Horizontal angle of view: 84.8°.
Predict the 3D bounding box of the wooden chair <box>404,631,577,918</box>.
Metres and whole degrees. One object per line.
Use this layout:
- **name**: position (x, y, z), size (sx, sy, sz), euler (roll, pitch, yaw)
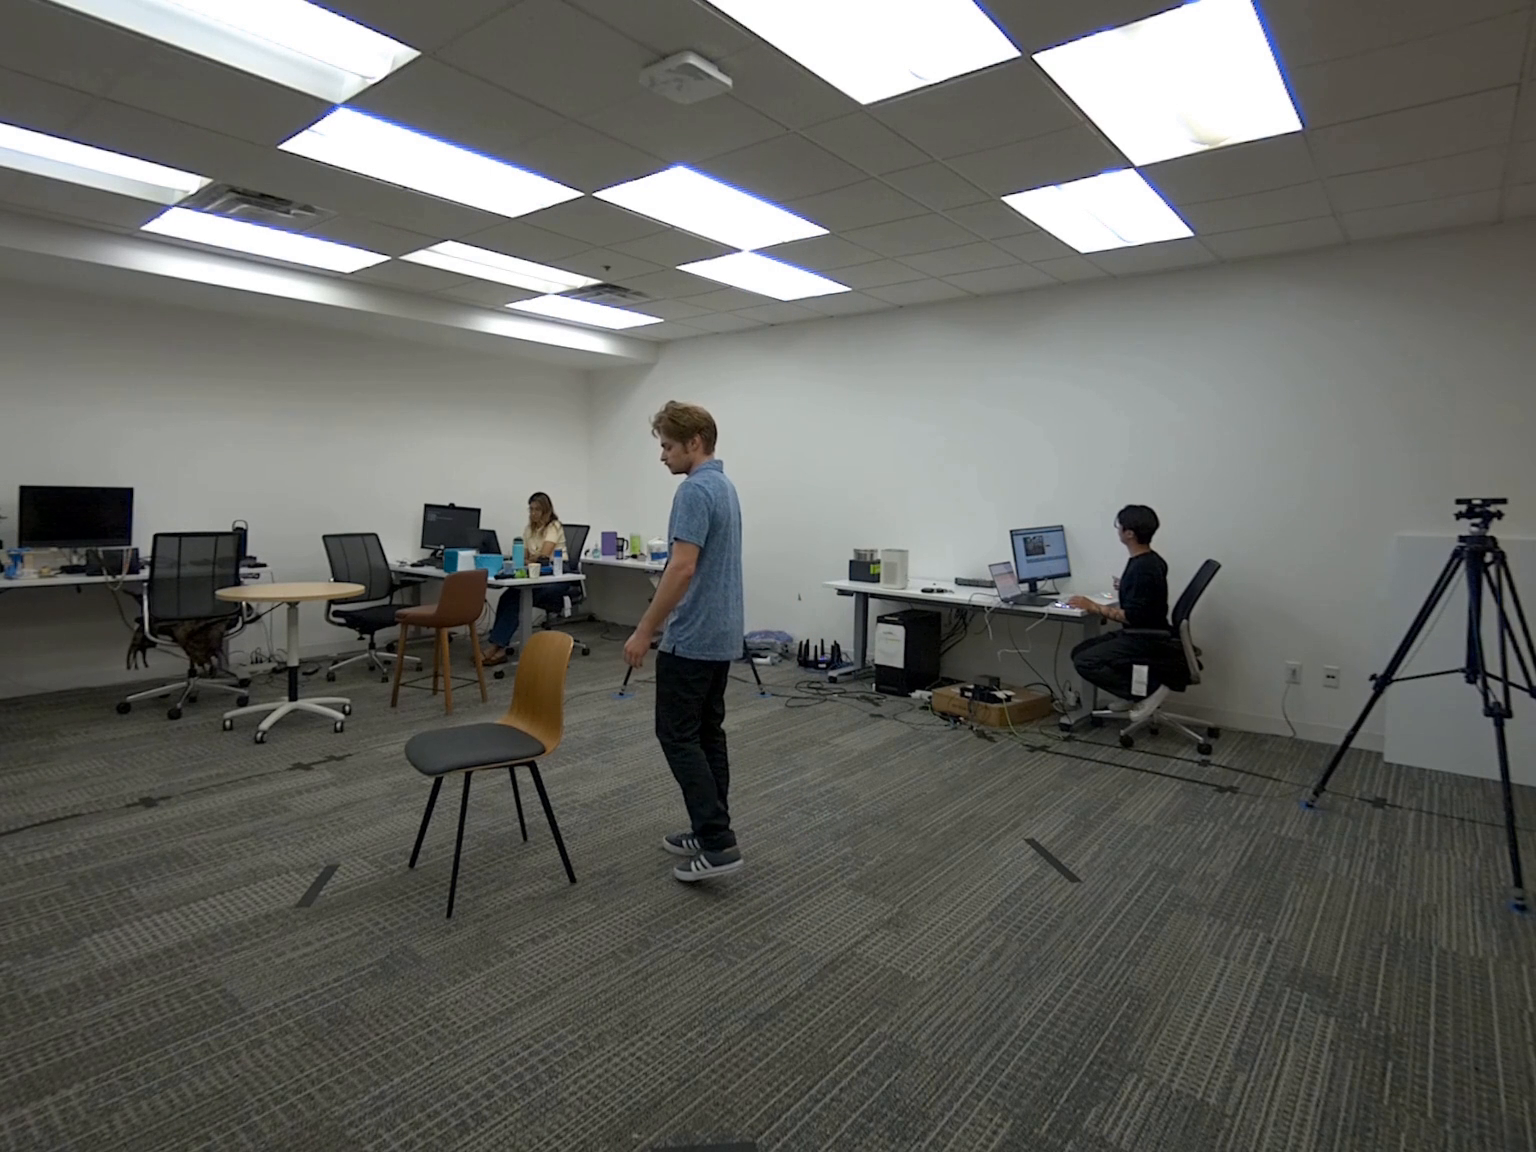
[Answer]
- **wooden chair**: position (-0.997, 0.637, 3.000), size (0.506, 0.877, 0.494), euler (4, 1, -38)
